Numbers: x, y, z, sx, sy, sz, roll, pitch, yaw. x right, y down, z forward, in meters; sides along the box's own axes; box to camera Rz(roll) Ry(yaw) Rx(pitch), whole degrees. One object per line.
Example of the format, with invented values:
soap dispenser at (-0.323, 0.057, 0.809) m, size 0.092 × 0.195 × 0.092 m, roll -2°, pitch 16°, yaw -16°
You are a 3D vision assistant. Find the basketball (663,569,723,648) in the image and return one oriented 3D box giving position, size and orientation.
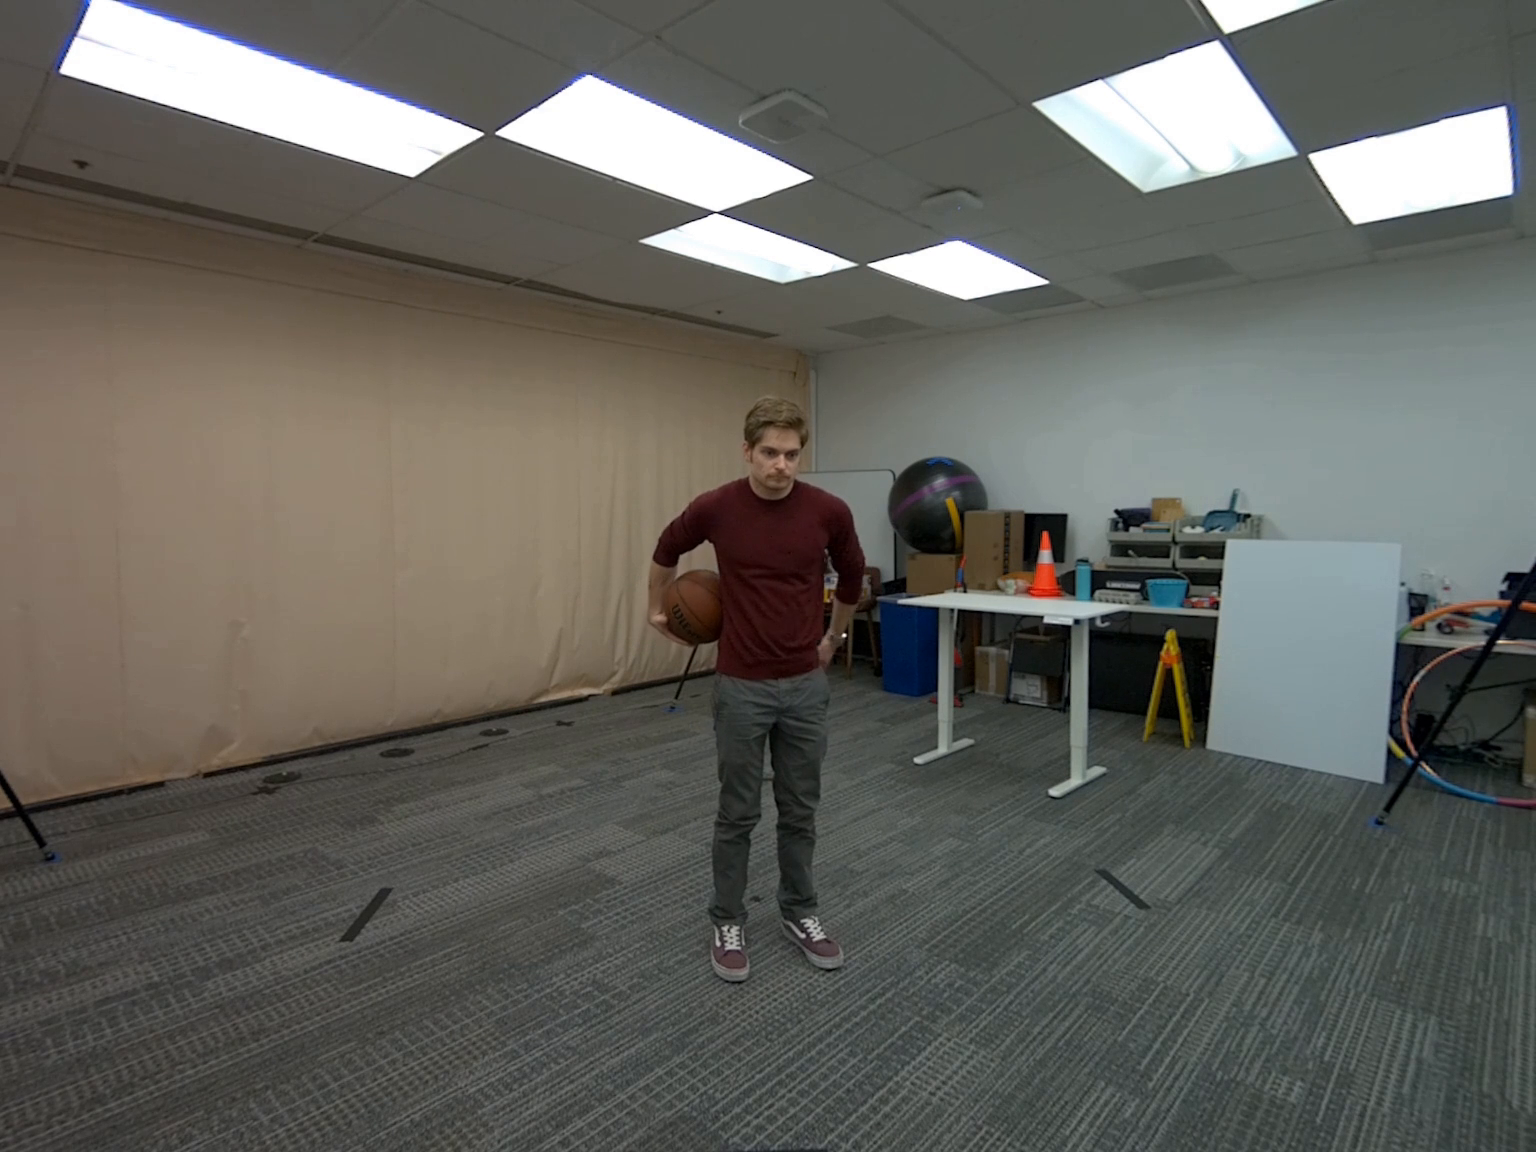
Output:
basketball at (-0.204, 0.099, 2.691) m, size 0.236 × 0.235 × 0.237 m, roll 0°, pitch 4°, yaw -2°
